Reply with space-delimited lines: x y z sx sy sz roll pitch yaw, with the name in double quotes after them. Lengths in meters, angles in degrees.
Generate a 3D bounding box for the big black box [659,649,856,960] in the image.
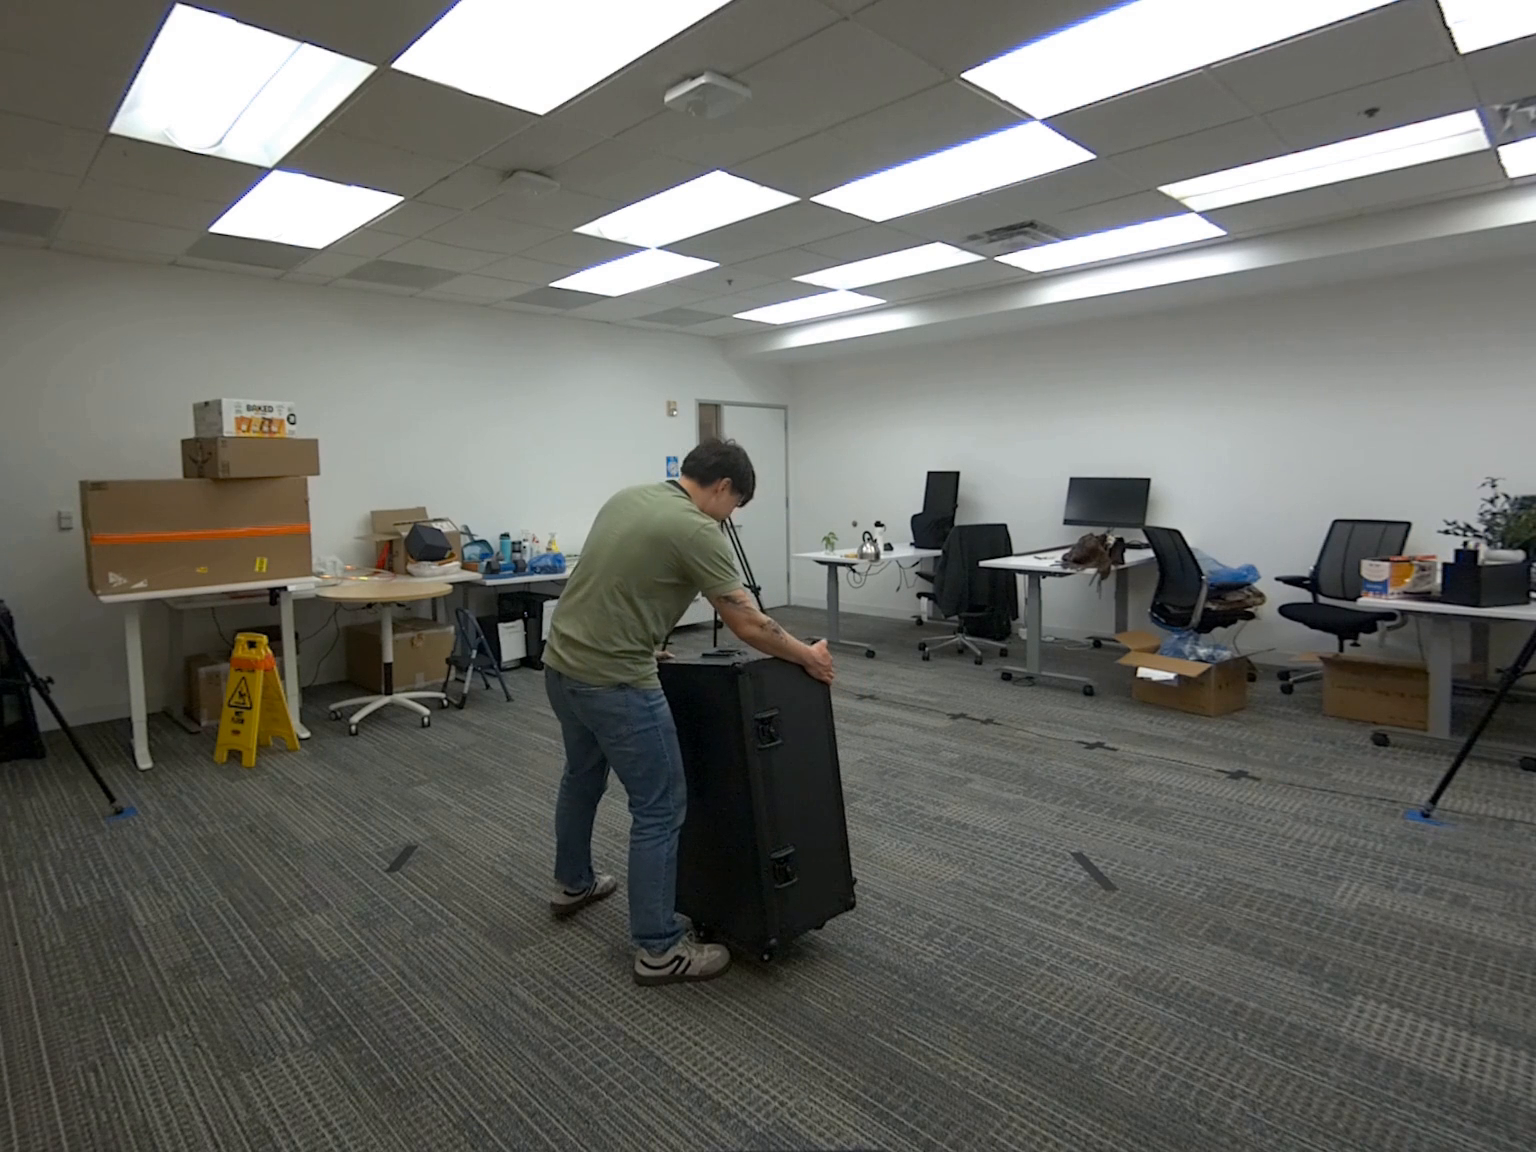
-0.056 0.661 2.638 0.386 0.863 0.534 -4 -2 -40 "big black box"
